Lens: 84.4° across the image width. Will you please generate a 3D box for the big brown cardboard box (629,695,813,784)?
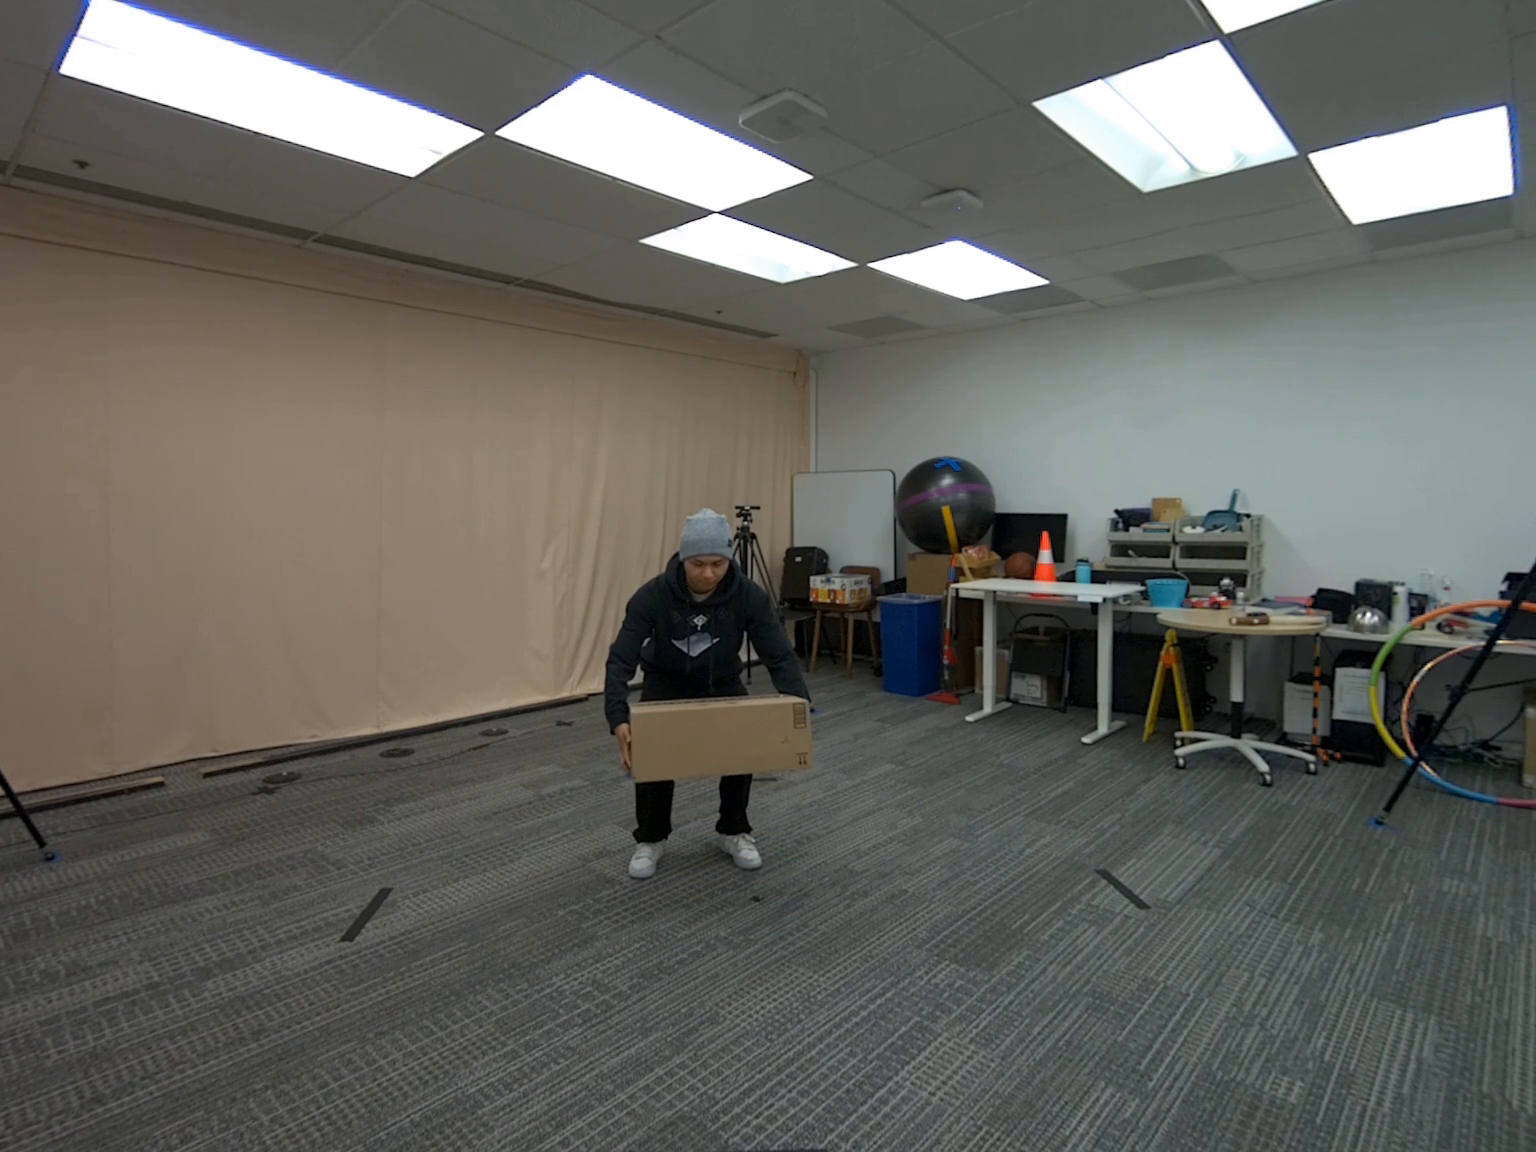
[{"bbox_3d":[-0.178,0.530,2.820,0.585,0.234,0.419,-3,-5,-7],"label":"big brown cardboard box"}]
